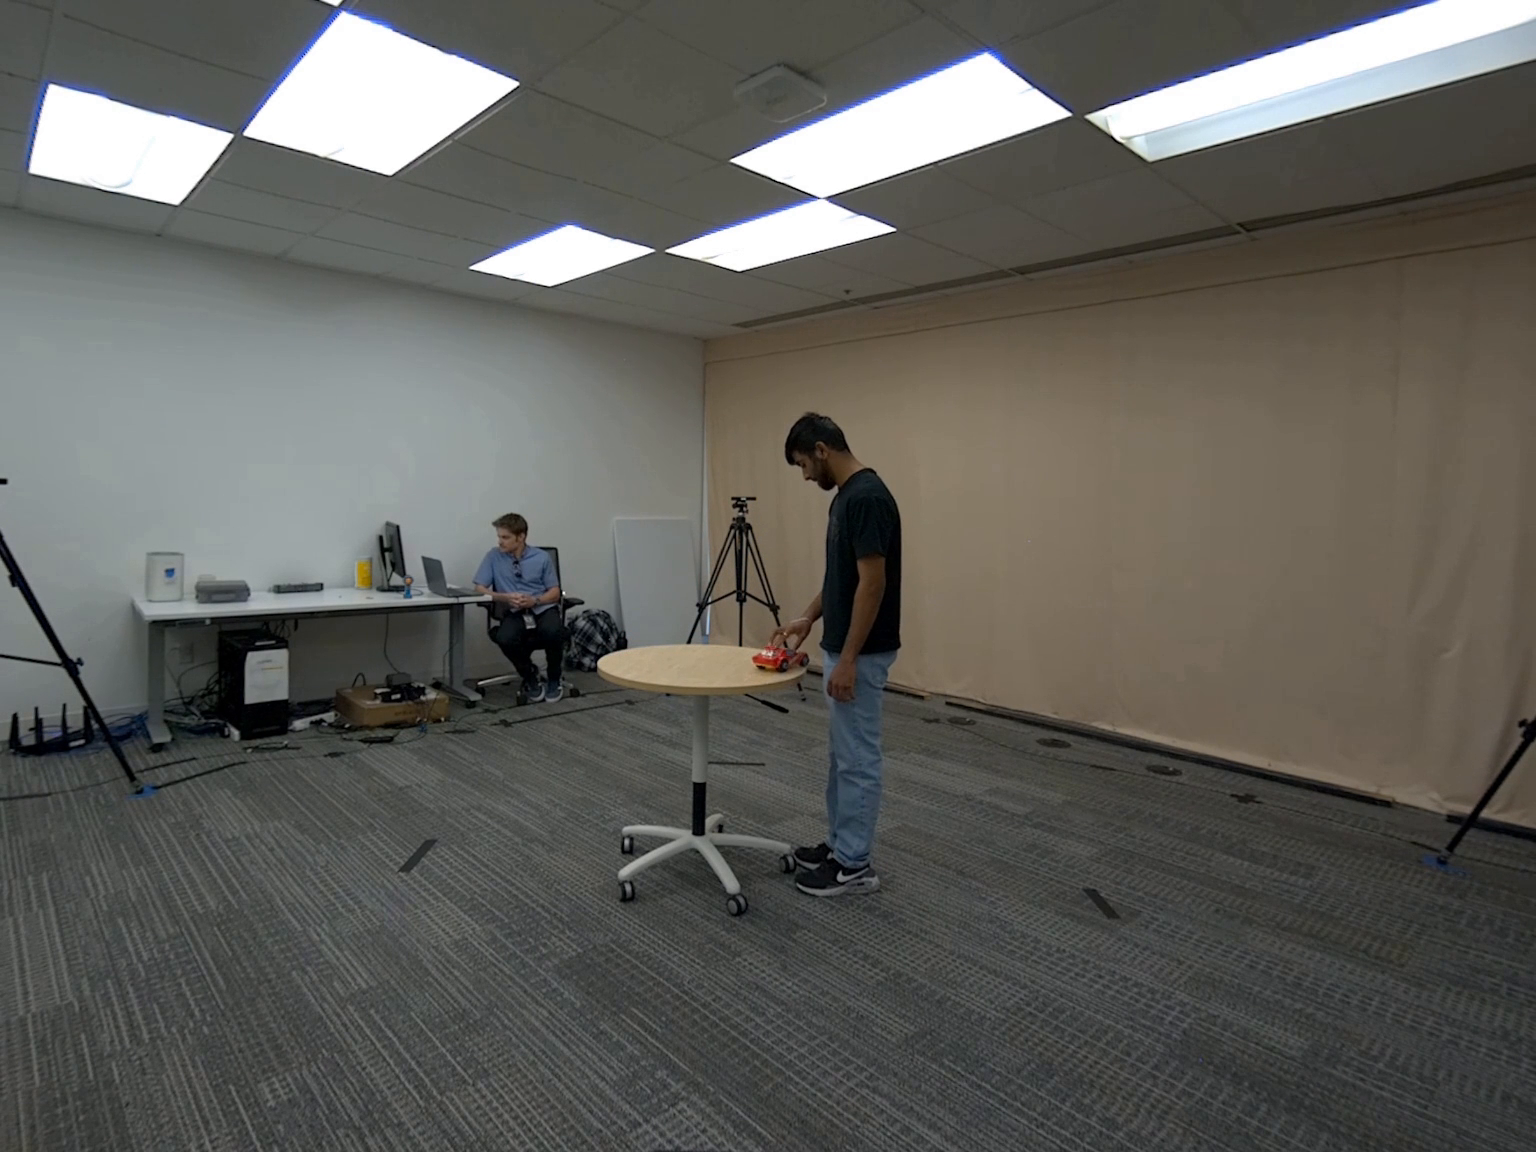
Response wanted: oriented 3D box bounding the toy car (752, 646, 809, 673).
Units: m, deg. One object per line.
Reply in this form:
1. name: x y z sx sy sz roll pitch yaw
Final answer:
1. toy car: 0.036 0.301 3.043 0.133 0.083 0.248 7 -4 34
